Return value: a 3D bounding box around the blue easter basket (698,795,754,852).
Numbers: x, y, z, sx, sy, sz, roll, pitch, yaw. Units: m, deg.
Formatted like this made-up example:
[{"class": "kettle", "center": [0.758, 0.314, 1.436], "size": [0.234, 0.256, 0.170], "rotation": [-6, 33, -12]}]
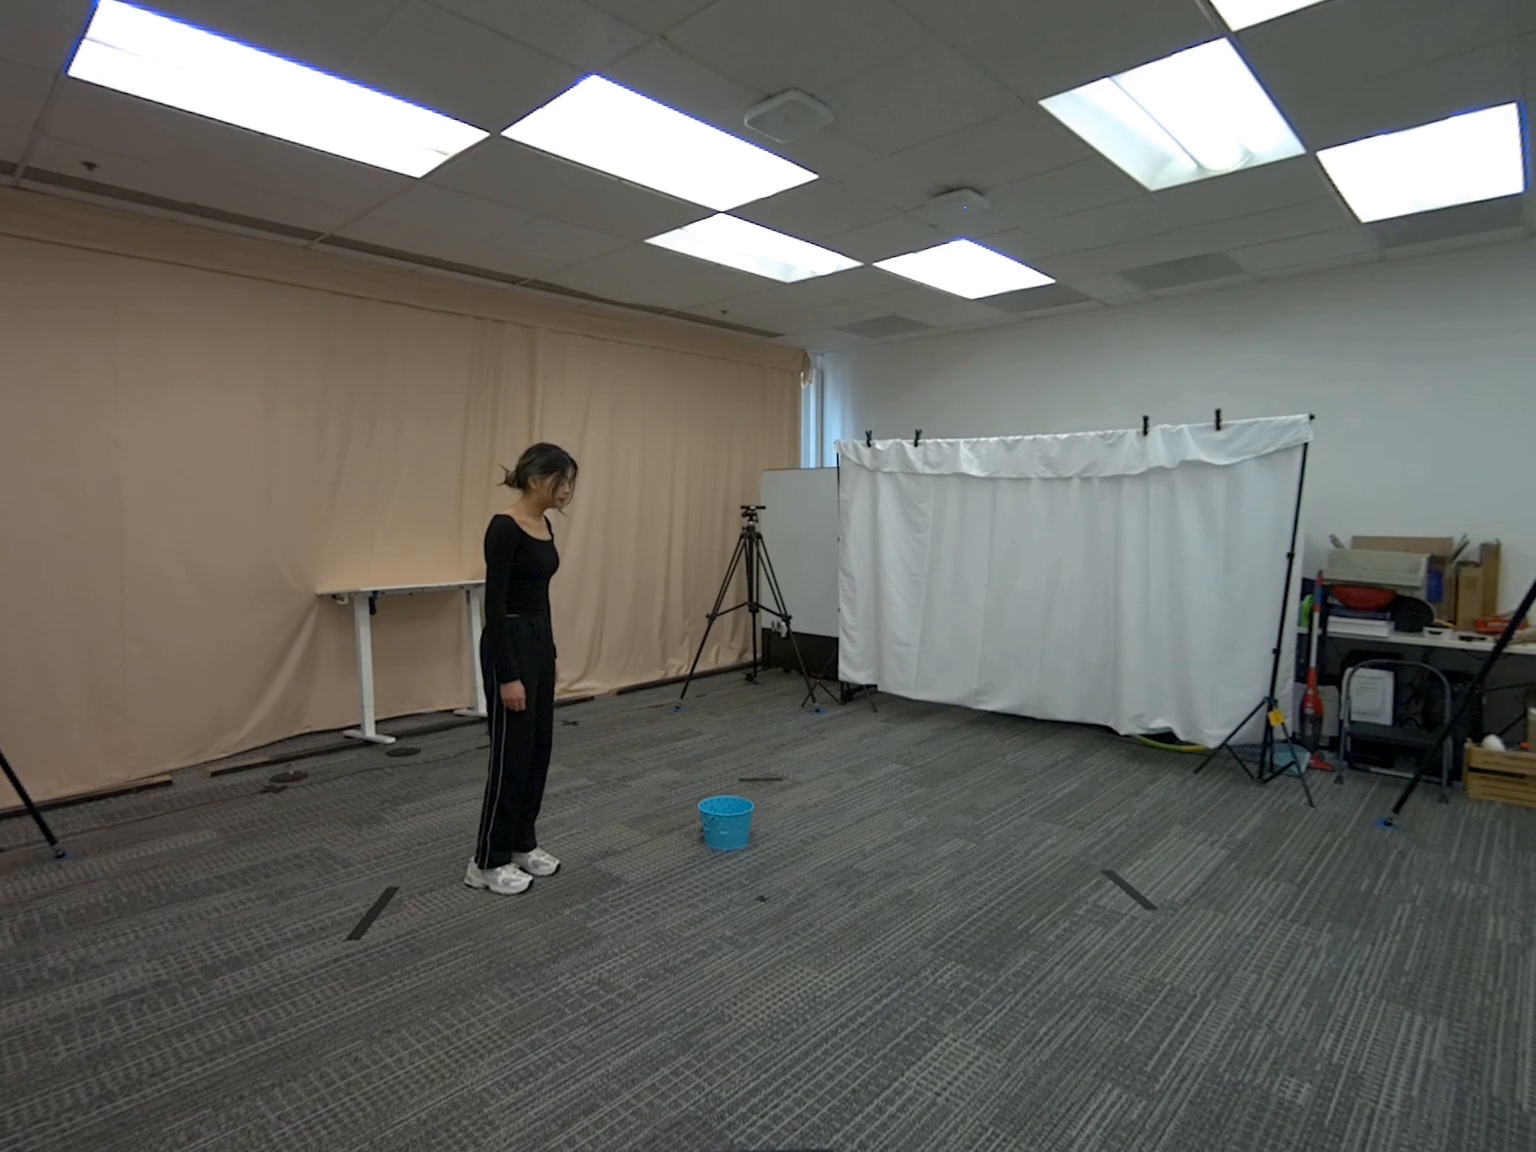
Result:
[{"class": "blue easter basket", "center": [-0.172, 1.024, 3.497], "size": [0.243, 0.155, 0.244], "rotation": [0, 4, -2]}]
